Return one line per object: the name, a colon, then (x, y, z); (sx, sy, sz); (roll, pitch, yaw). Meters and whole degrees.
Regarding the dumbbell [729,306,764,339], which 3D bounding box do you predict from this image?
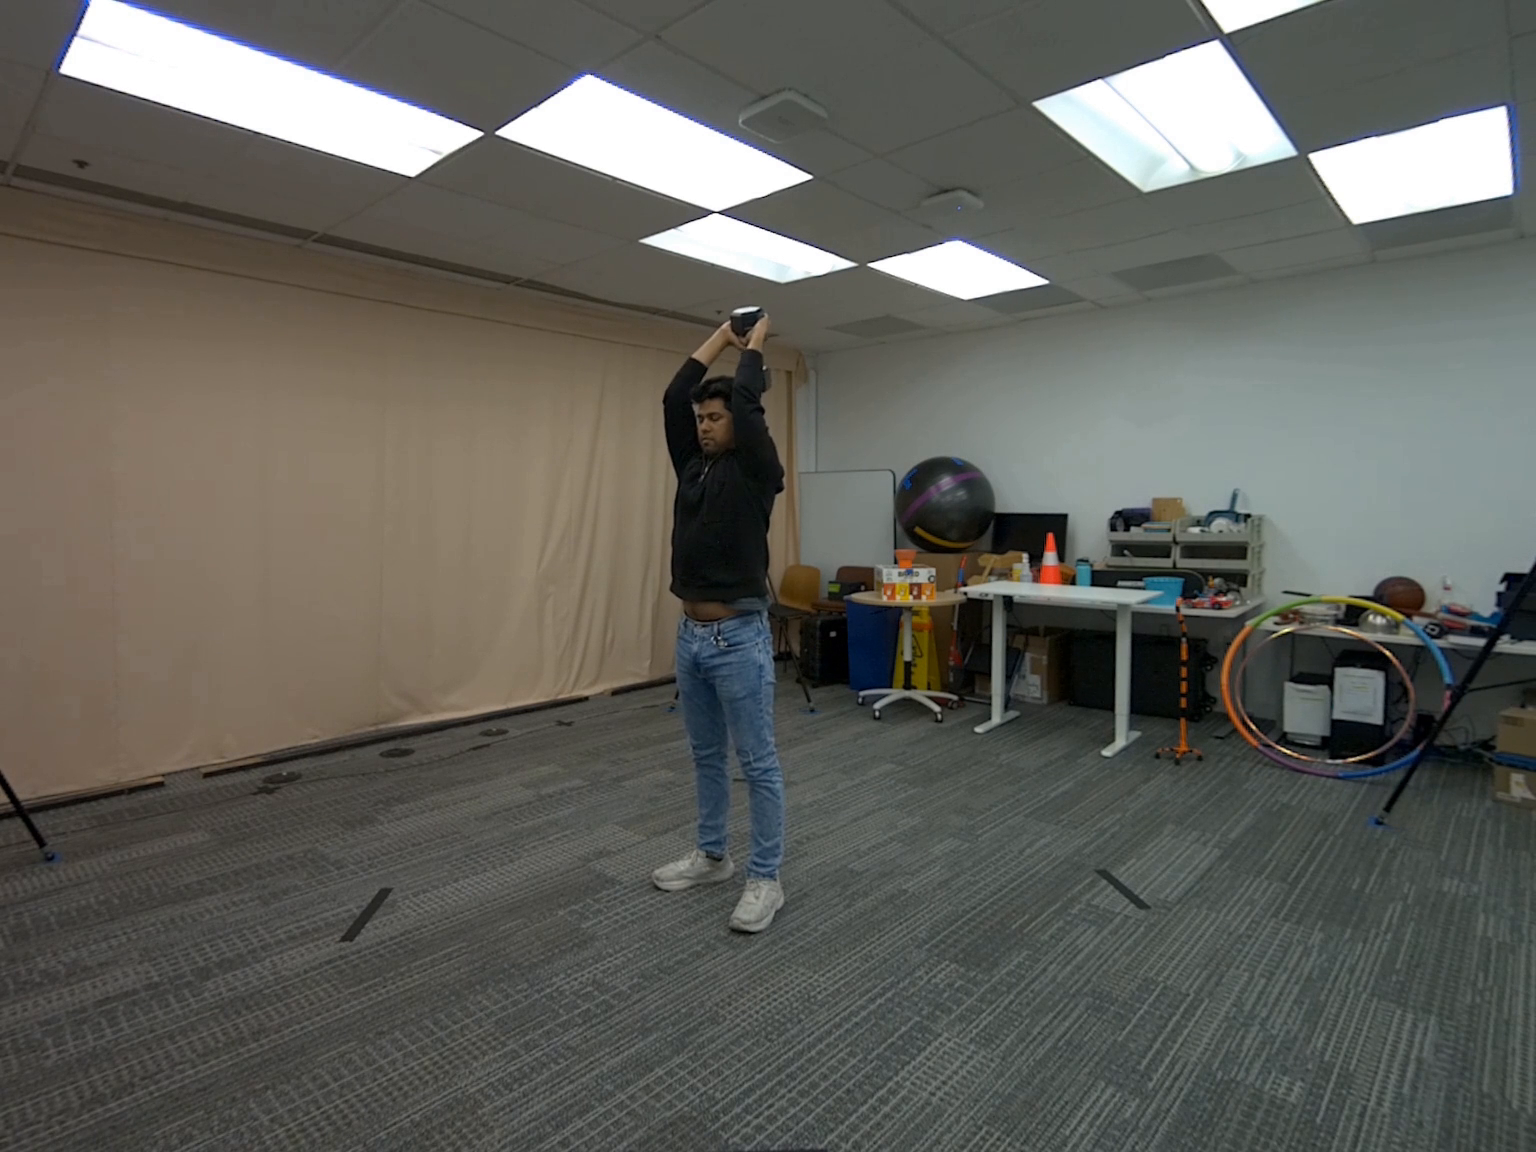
dumbbell: (-0.058, -0.798, 3.005); (0.106, 0.288, 0.127); (-22, 30, -29)
